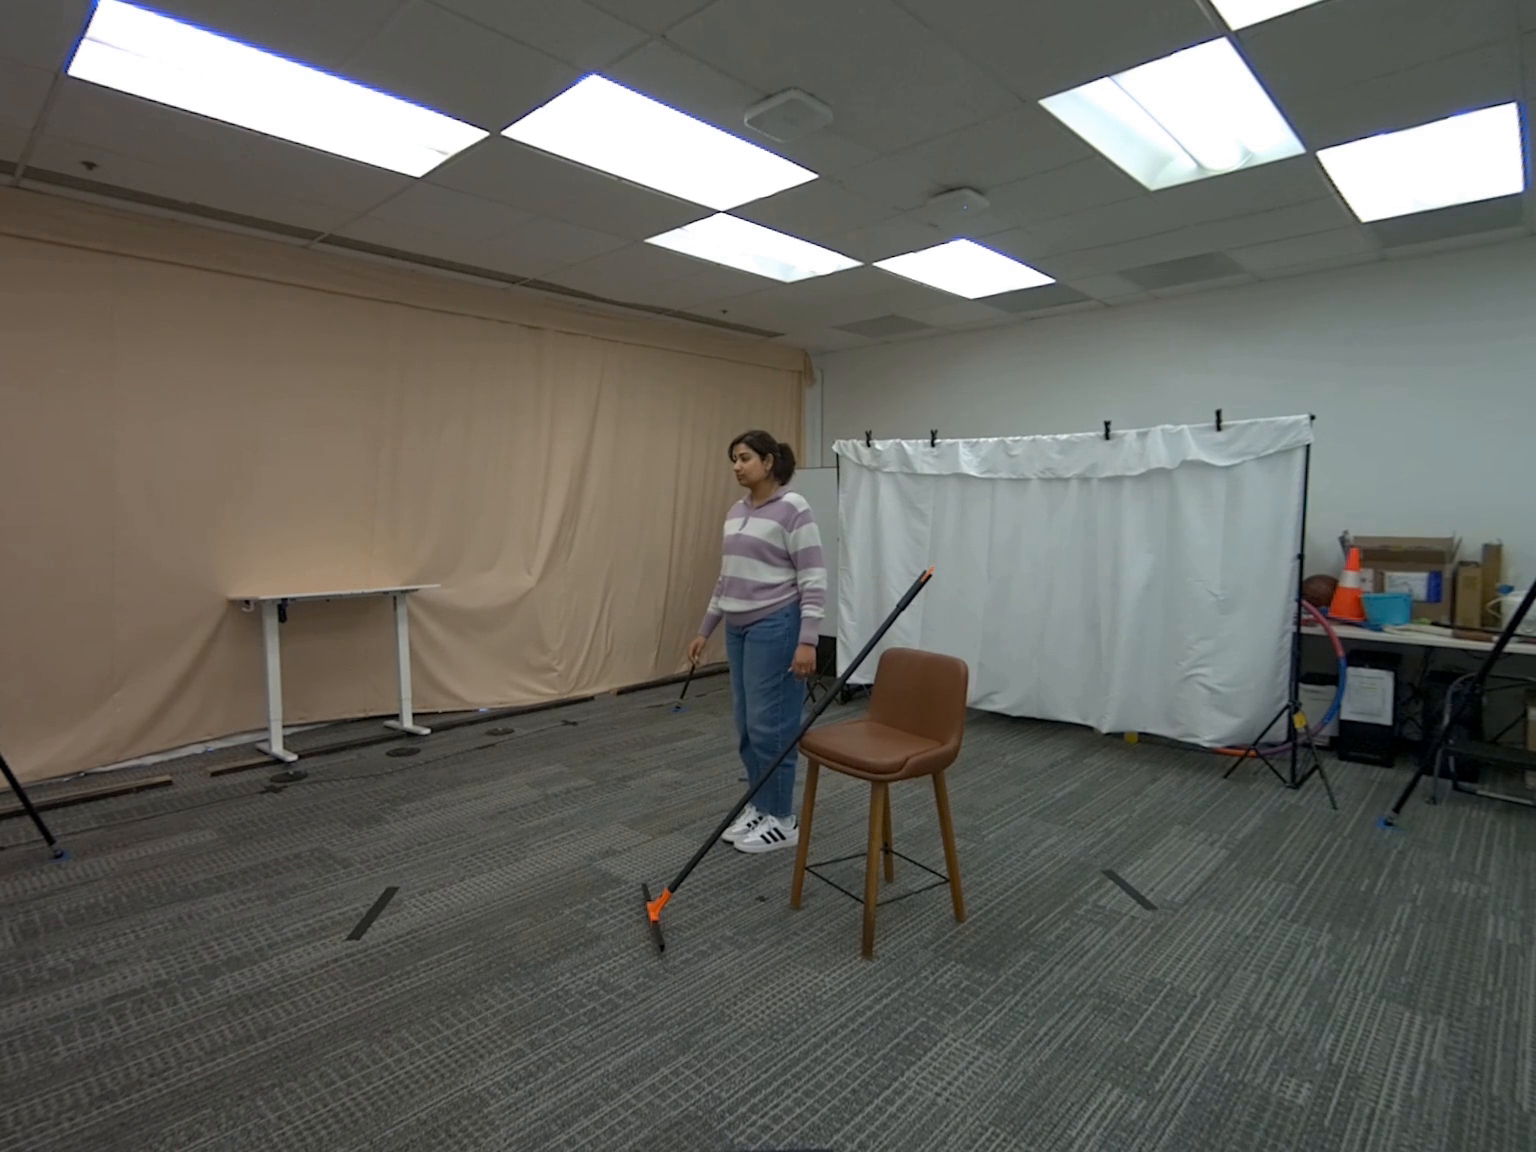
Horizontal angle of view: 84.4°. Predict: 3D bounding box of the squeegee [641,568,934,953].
[{"bbox_3d":[0.084,0.548,2.862,0.052,1.536,0.445,41,-5,-15],"label":"squeegee"}]
